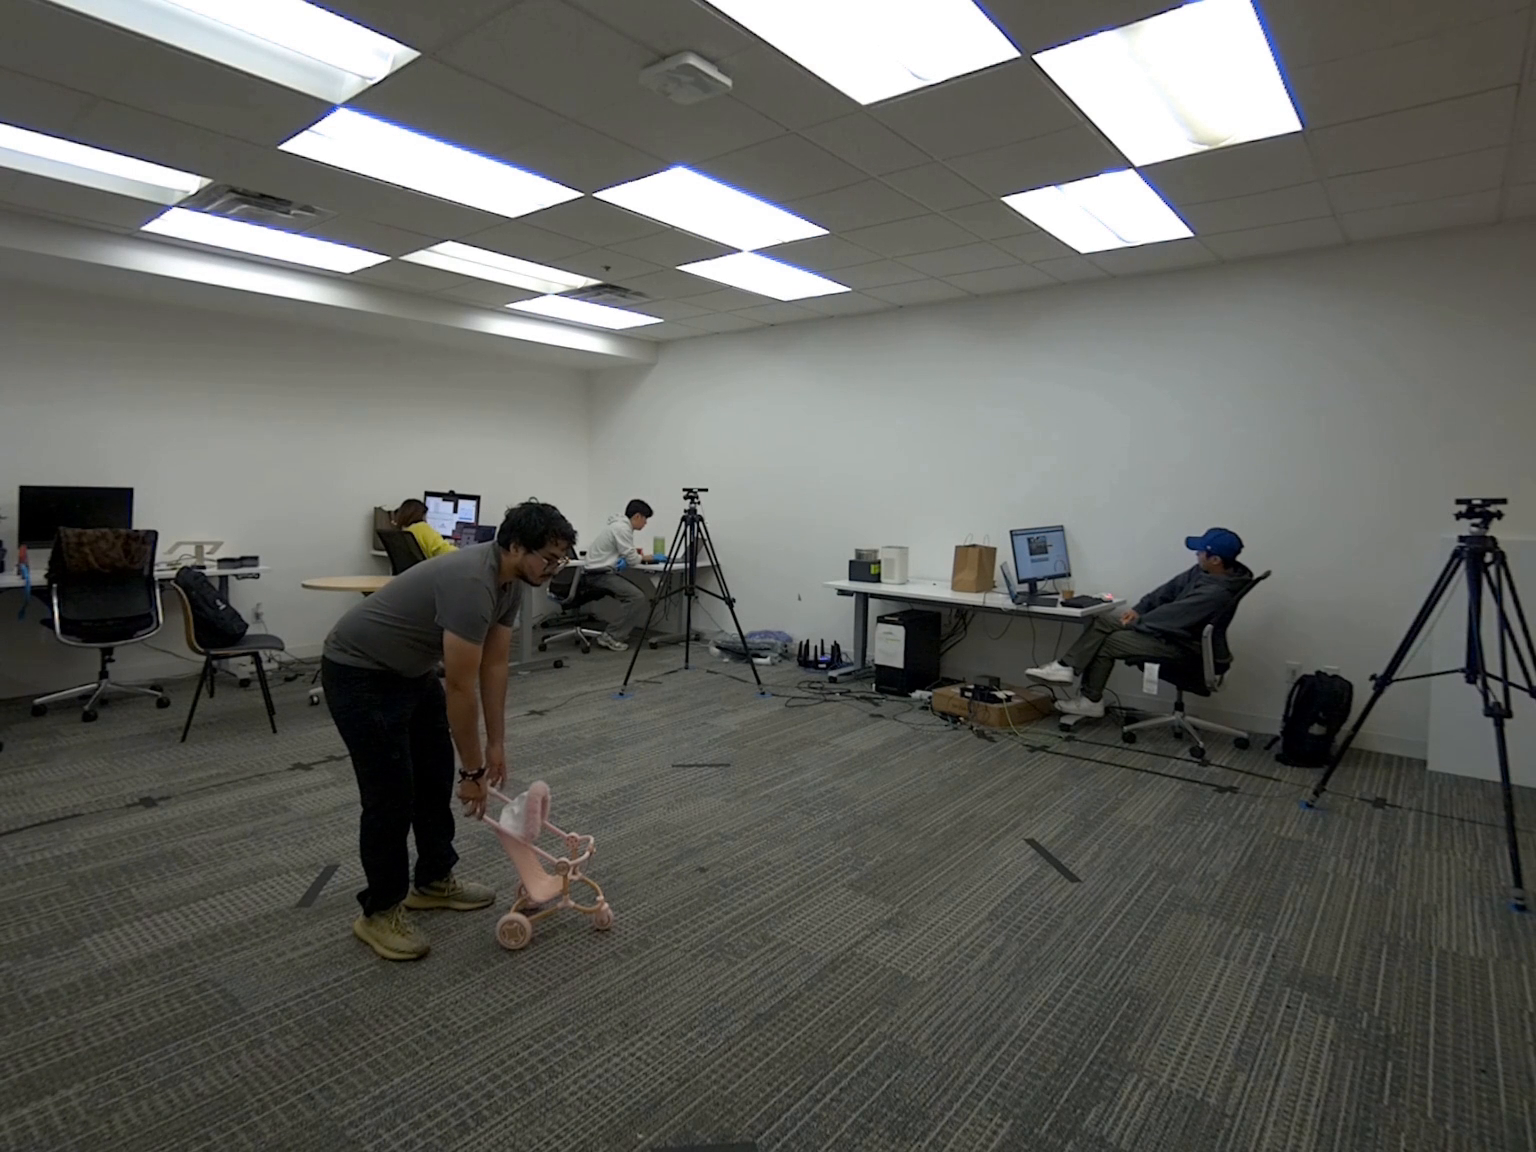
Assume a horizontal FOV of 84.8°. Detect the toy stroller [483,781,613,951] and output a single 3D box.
[{"bbox_3d":[-0.706,0.888,2.662,0.342,0.534,0.281,-15,3,4],"label":"toy stroller"}]
